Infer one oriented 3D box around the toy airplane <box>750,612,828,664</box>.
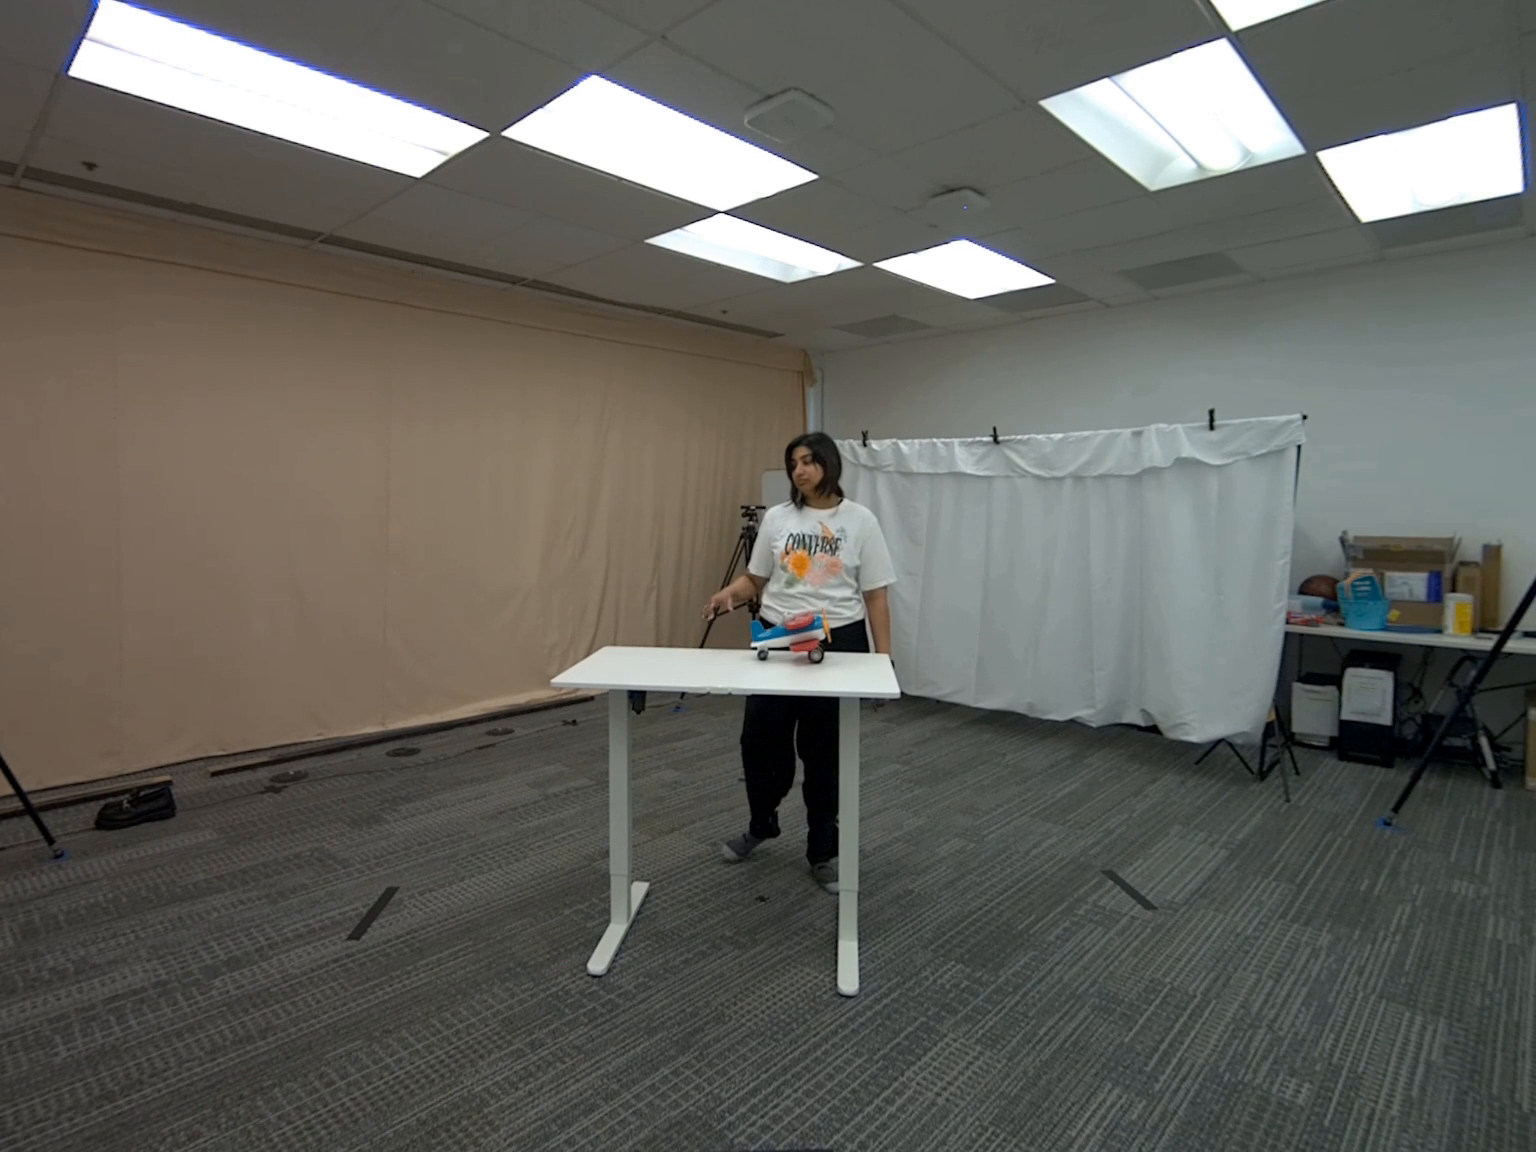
[{"bbox_3d":[0.080,0.204,2.754,0.254,0.156,0.257,-2,4,-22],"label":"toy airplane"}]
